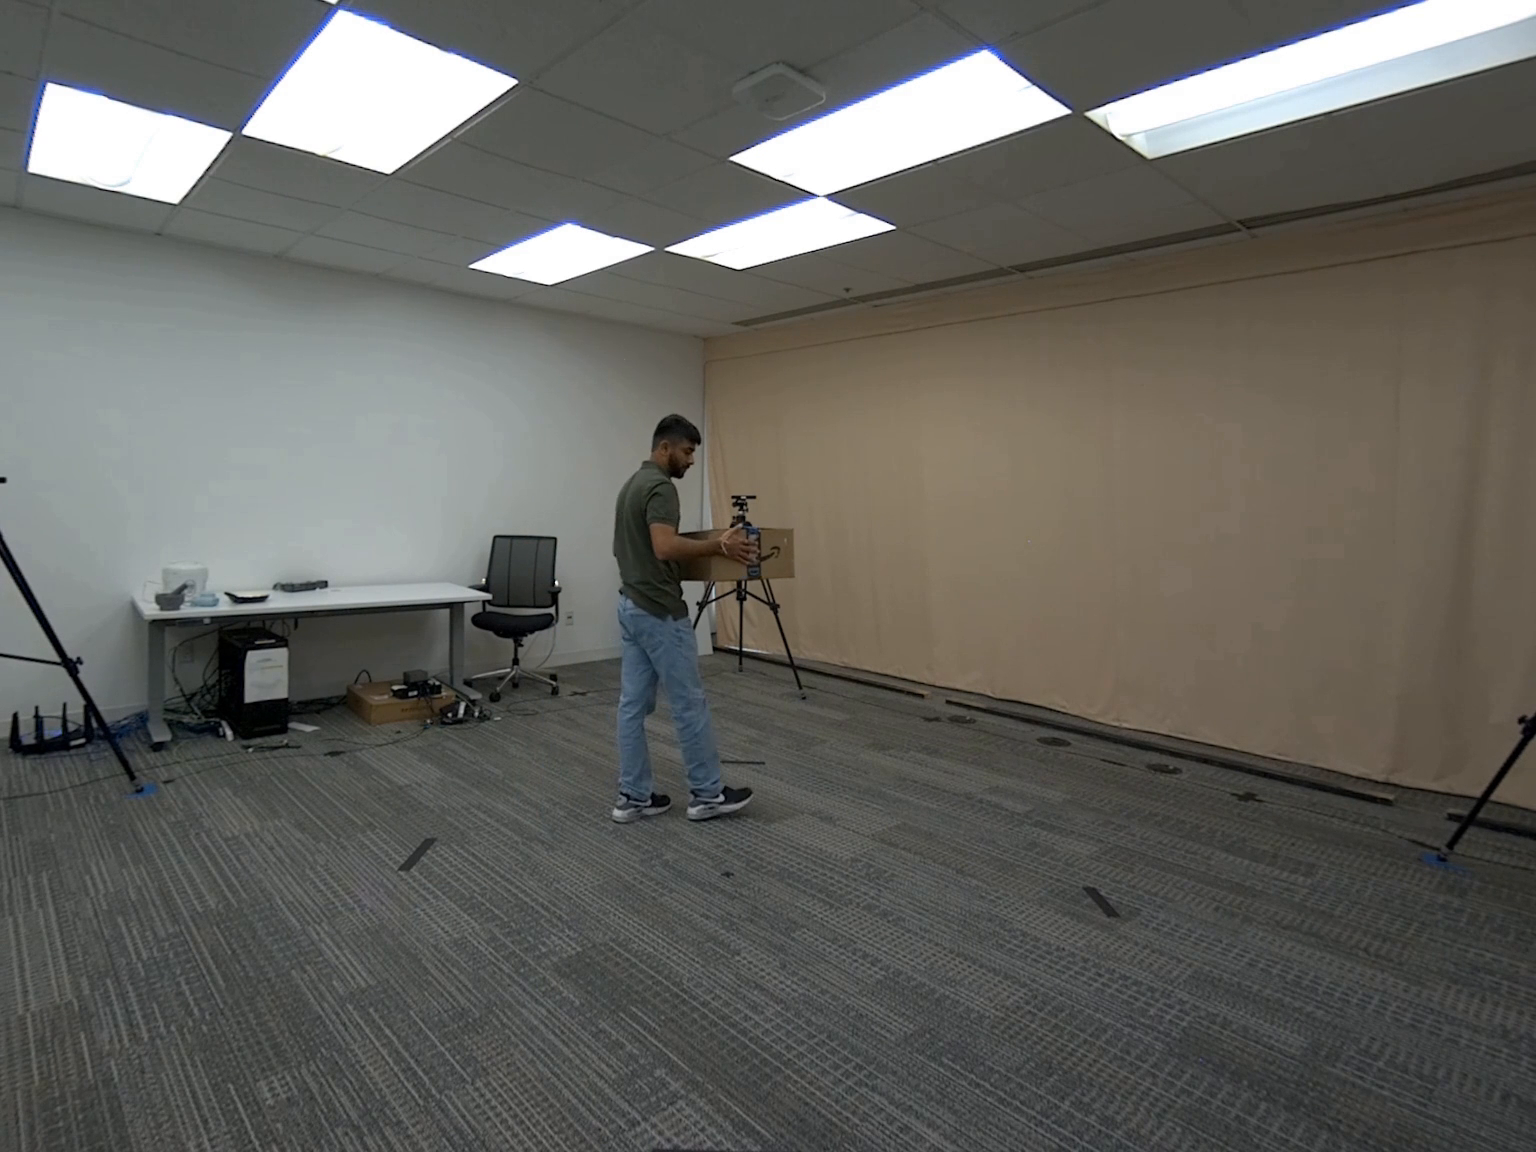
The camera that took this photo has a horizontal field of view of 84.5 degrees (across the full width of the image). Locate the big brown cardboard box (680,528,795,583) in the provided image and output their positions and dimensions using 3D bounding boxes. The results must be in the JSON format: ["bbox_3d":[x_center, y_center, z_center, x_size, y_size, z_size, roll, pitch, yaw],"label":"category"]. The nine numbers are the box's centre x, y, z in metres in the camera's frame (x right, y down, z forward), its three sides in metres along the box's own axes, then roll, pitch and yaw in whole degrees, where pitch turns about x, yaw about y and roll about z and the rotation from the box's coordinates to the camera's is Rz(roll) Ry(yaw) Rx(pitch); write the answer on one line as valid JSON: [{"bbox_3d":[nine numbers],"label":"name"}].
[{"bbox_3d":[-0.215,-0.093,3.795,0.409,0.233,0.601,-3,1,-31],"label":"big brown cardboard box"}]
